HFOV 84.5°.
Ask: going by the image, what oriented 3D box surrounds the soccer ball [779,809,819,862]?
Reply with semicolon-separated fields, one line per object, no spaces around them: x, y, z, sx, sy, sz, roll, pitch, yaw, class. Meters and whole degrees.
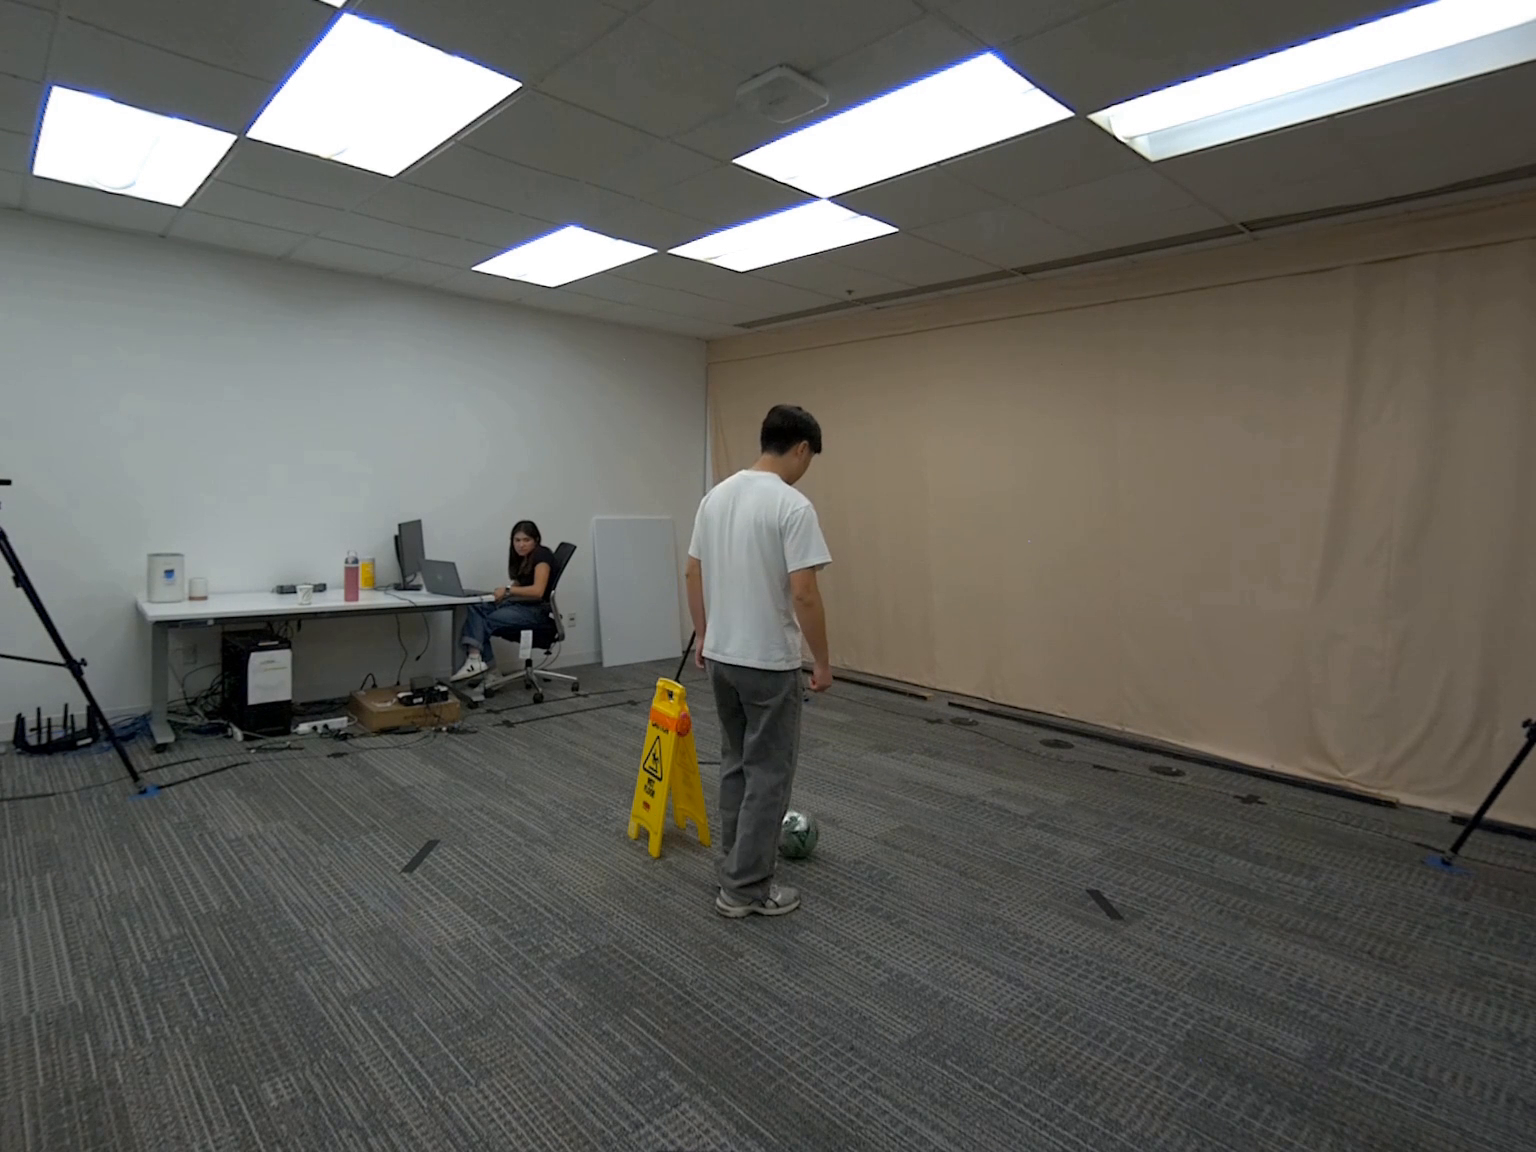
0.080;1.015;3.287;0.187;0.187;0.188;1;4;-1;soccer ball
